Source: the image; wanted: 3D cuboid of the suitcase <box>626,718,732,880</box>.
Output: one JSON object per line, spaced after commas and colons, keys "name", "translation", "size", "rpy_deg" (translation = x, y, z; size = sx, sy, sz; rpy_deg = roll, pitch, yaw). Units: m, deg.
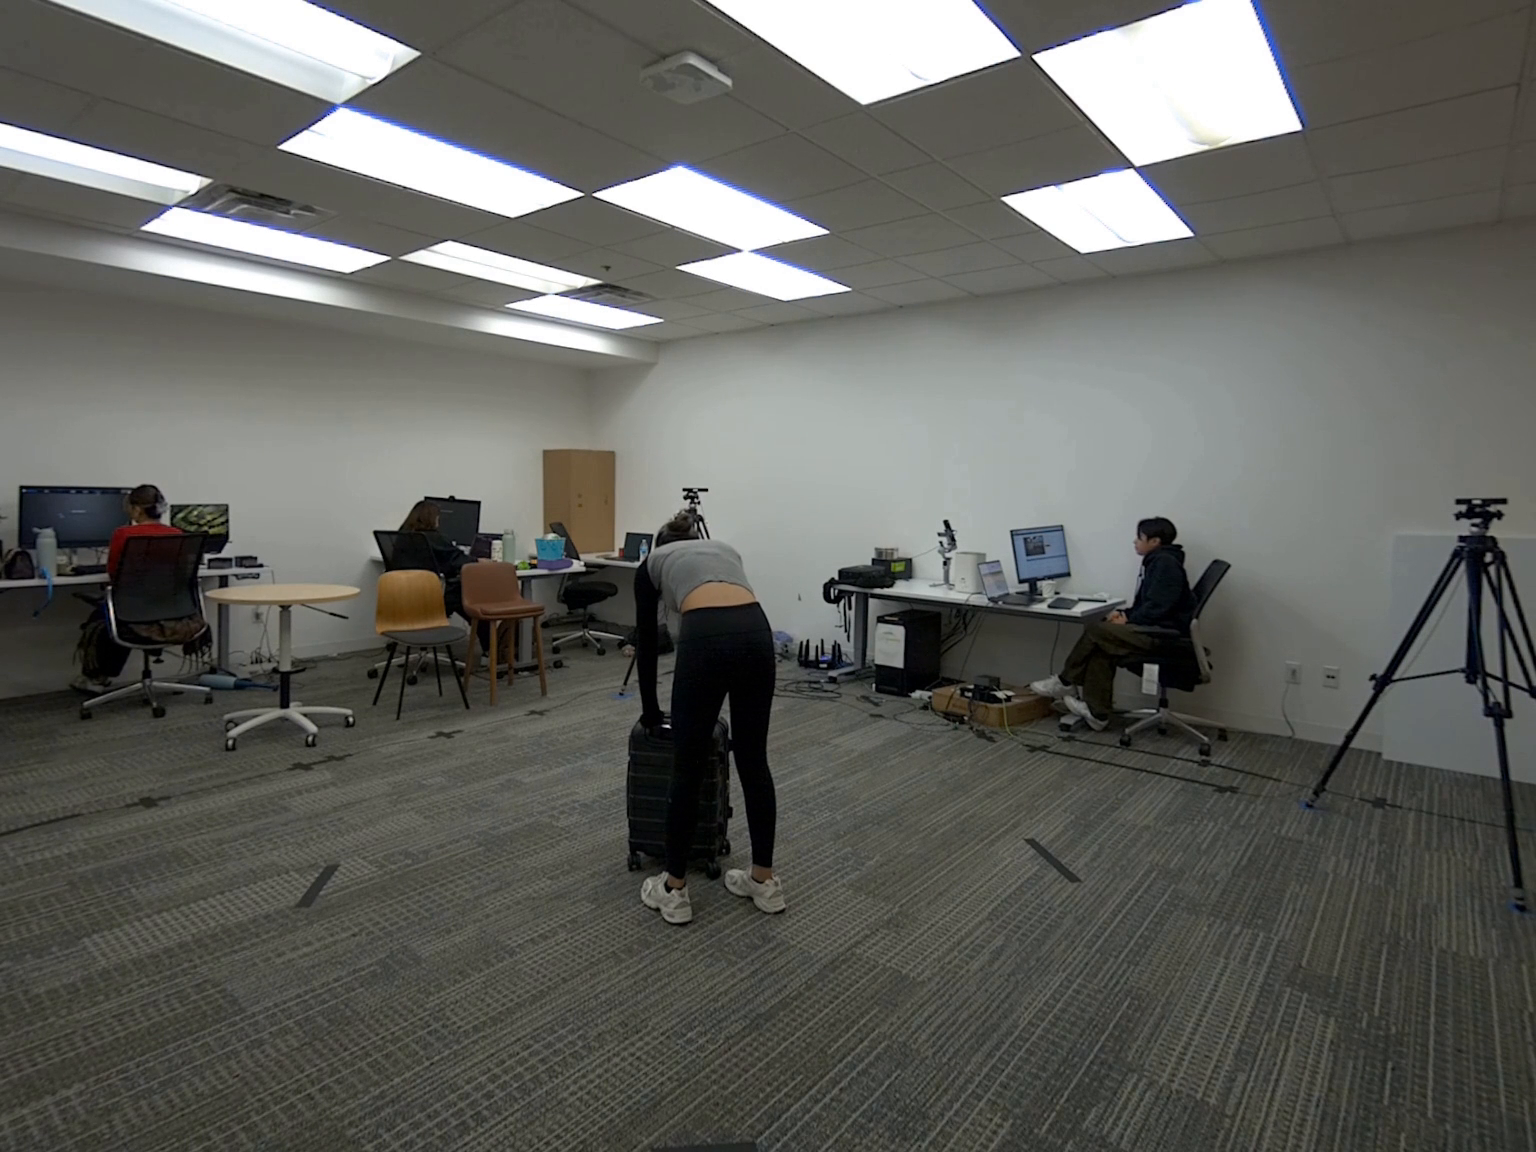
{"name": "suitcase", "translation": [-0.344, 0.787, 3.187], "size": [0.380, 0.549, 0.245], "rpy_deg": [1, 1, 12]}
